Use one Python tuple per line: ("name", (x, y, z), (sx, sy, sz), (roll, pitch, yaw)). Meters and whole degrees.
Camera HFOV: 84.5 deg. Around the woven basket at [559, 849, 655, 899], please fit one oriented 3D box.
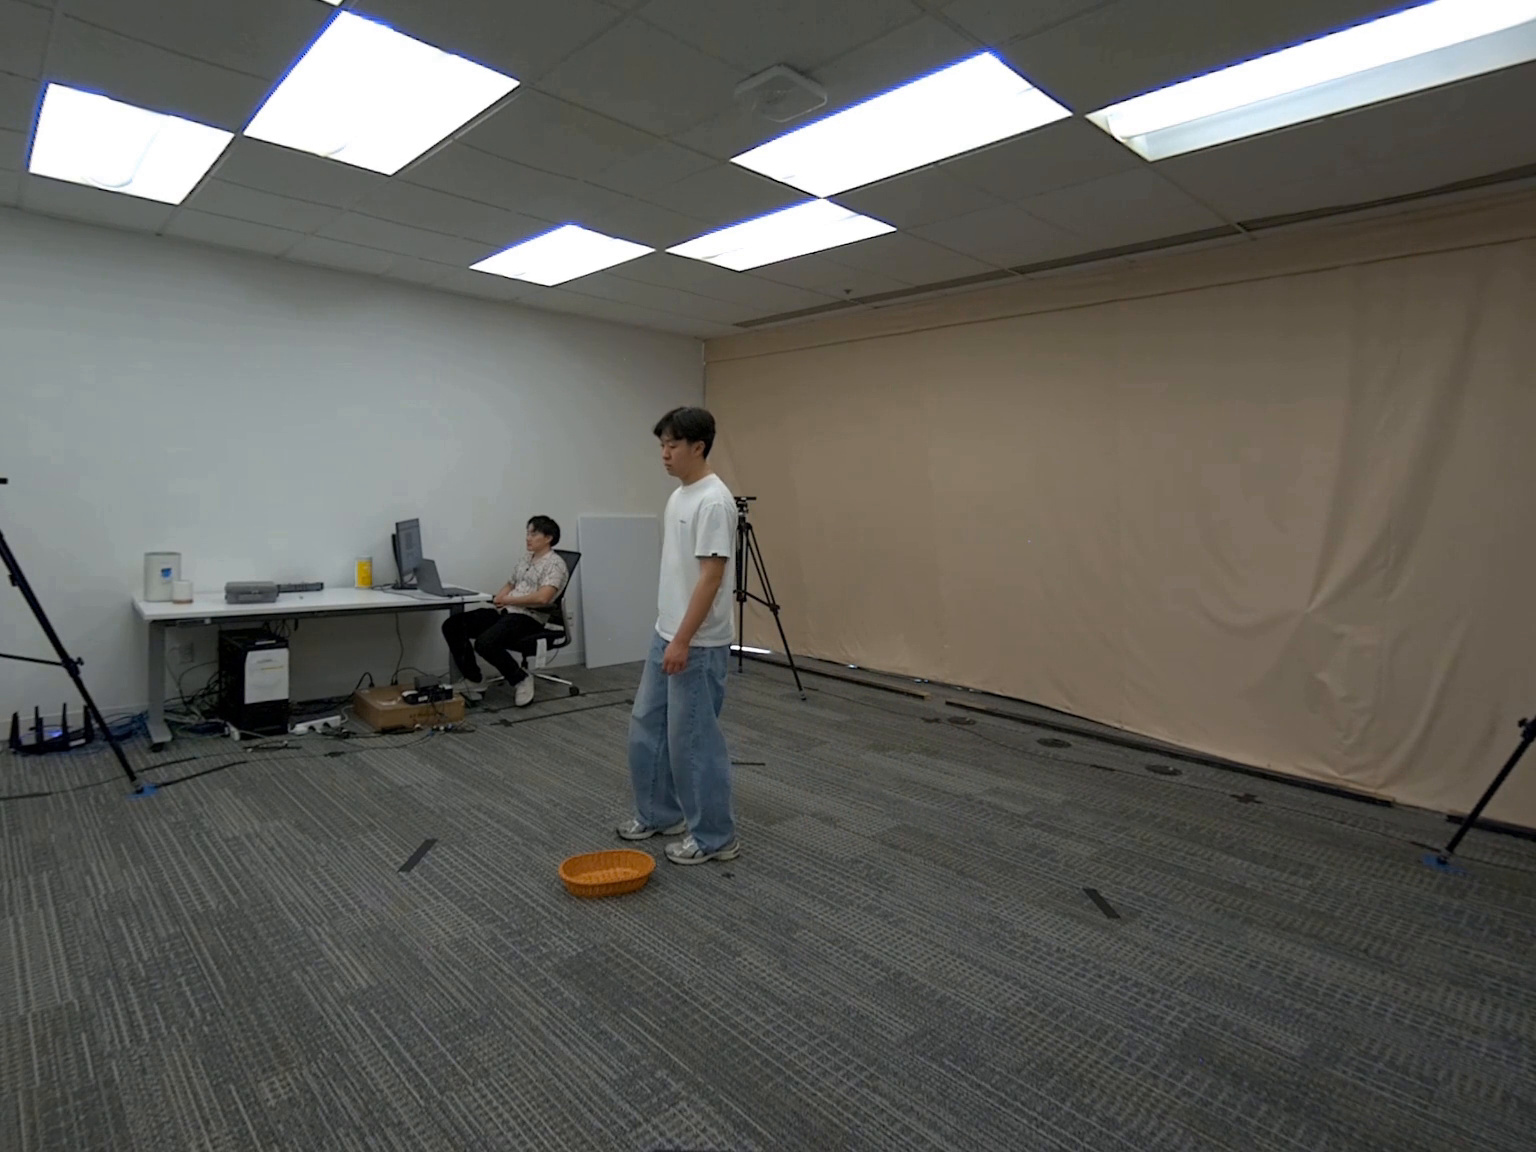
("woven basket", (-0.584, 1.064, 3.009), (0.346, 0.073, 0.257), (0, 6, -18))
